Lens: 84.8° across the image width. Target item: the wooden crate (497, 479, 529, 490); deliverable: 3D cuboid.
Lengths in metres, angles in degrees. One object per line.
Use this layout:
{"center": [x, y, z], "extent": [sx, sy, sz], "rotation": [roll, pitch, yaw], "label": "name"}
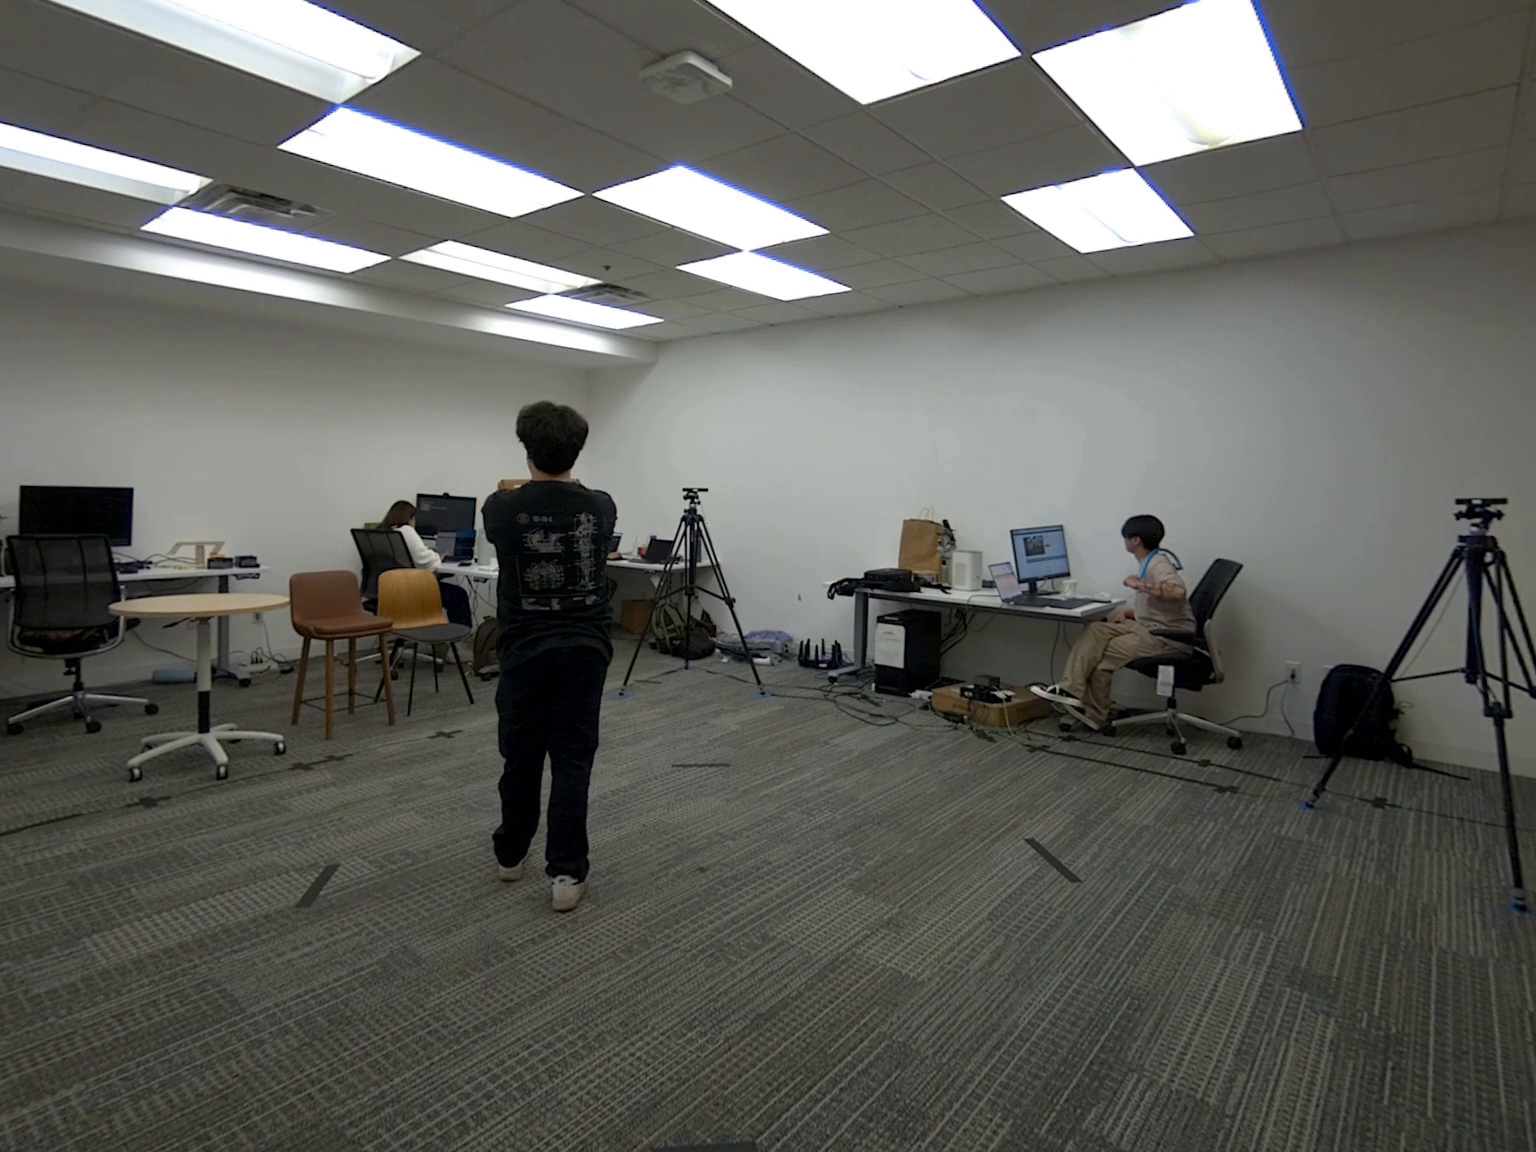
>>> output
{"center": [-0.948, -0.270, 3.463], "extent": [0.319, 0.272, 0.308], "rotation": [-2, 4, -18], "label": "wooden crate"}
